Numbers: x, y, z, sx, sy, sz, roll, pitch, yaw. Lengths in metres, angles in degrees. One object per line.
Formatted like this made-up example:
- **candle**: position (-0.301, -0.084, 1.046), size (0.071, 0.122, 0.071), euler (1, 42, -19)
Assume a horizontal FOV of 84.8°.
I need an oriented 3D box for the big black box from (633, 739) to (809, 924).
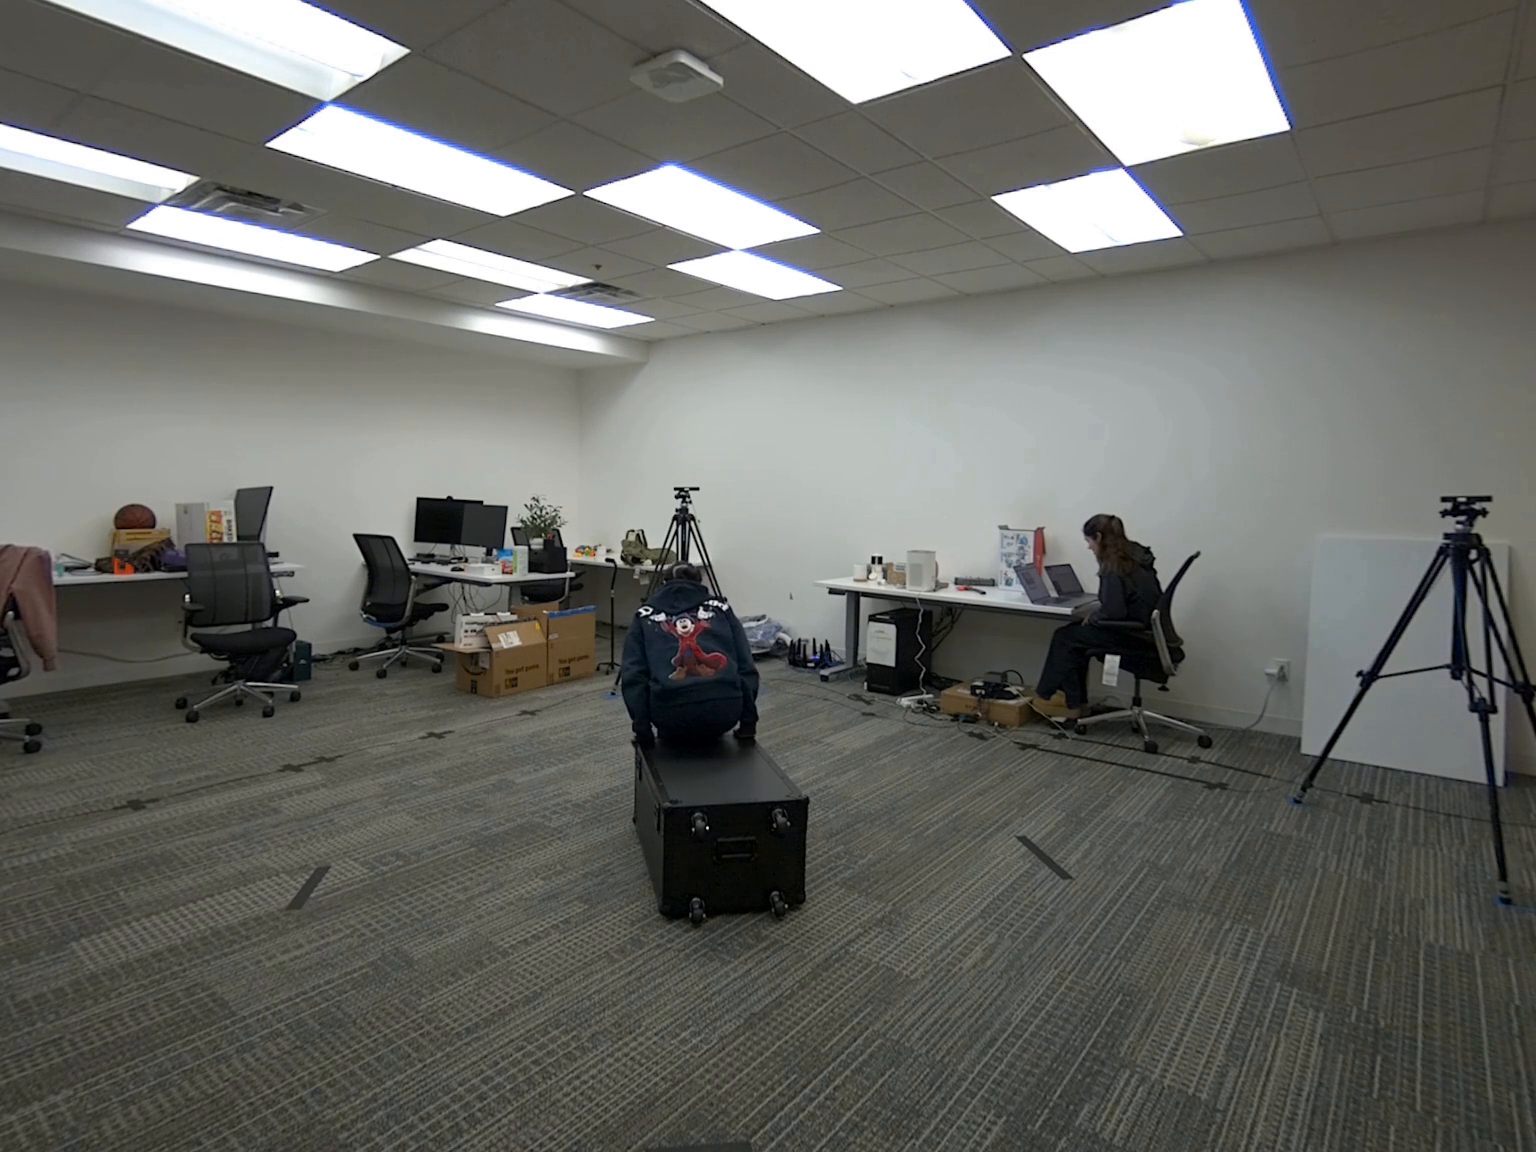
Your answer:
- **big black box**: position (-0.208, 0.872, 3.093), size (0.513, 0.395, 0.877), euler (0, 5, -15)
